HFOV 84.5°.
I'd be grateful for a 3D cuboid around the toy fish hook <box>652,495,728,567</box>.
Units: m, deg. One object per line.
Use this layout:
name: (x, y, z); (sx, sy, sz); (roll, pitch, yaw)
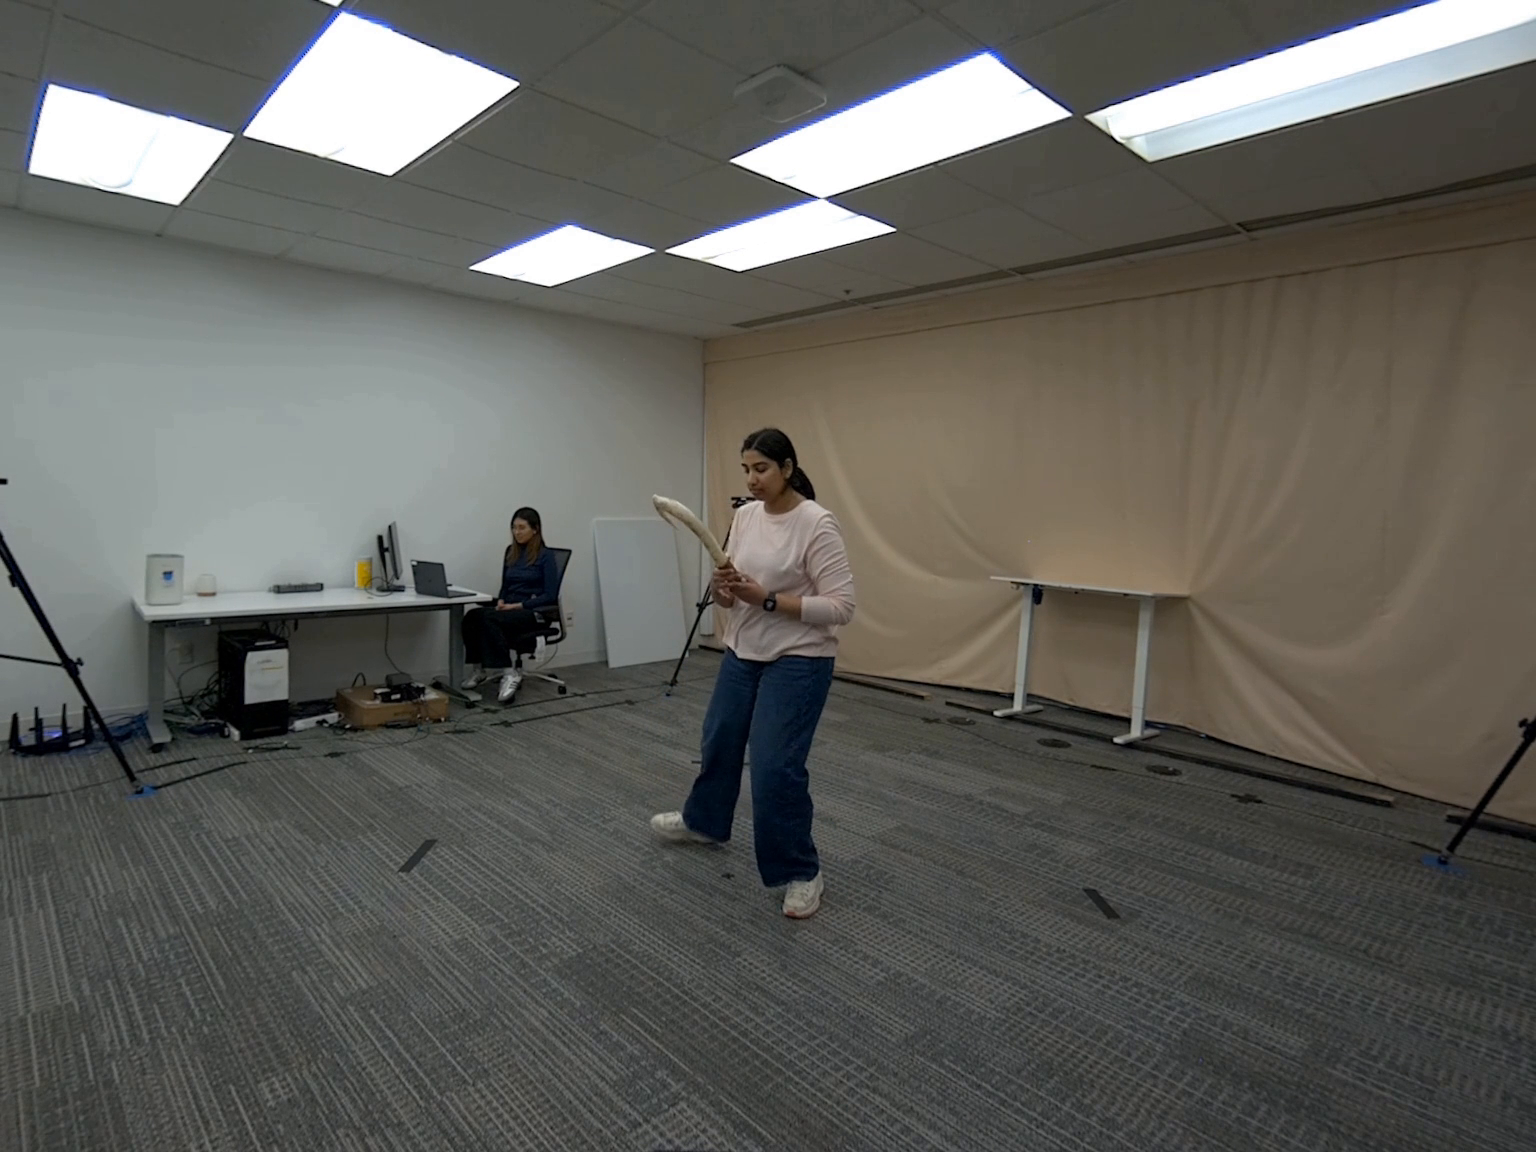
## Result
toy fish hook: (-0.206, -0.094, 2.672); (0.232, 0.048, 0.491); (29, -18, 48)
